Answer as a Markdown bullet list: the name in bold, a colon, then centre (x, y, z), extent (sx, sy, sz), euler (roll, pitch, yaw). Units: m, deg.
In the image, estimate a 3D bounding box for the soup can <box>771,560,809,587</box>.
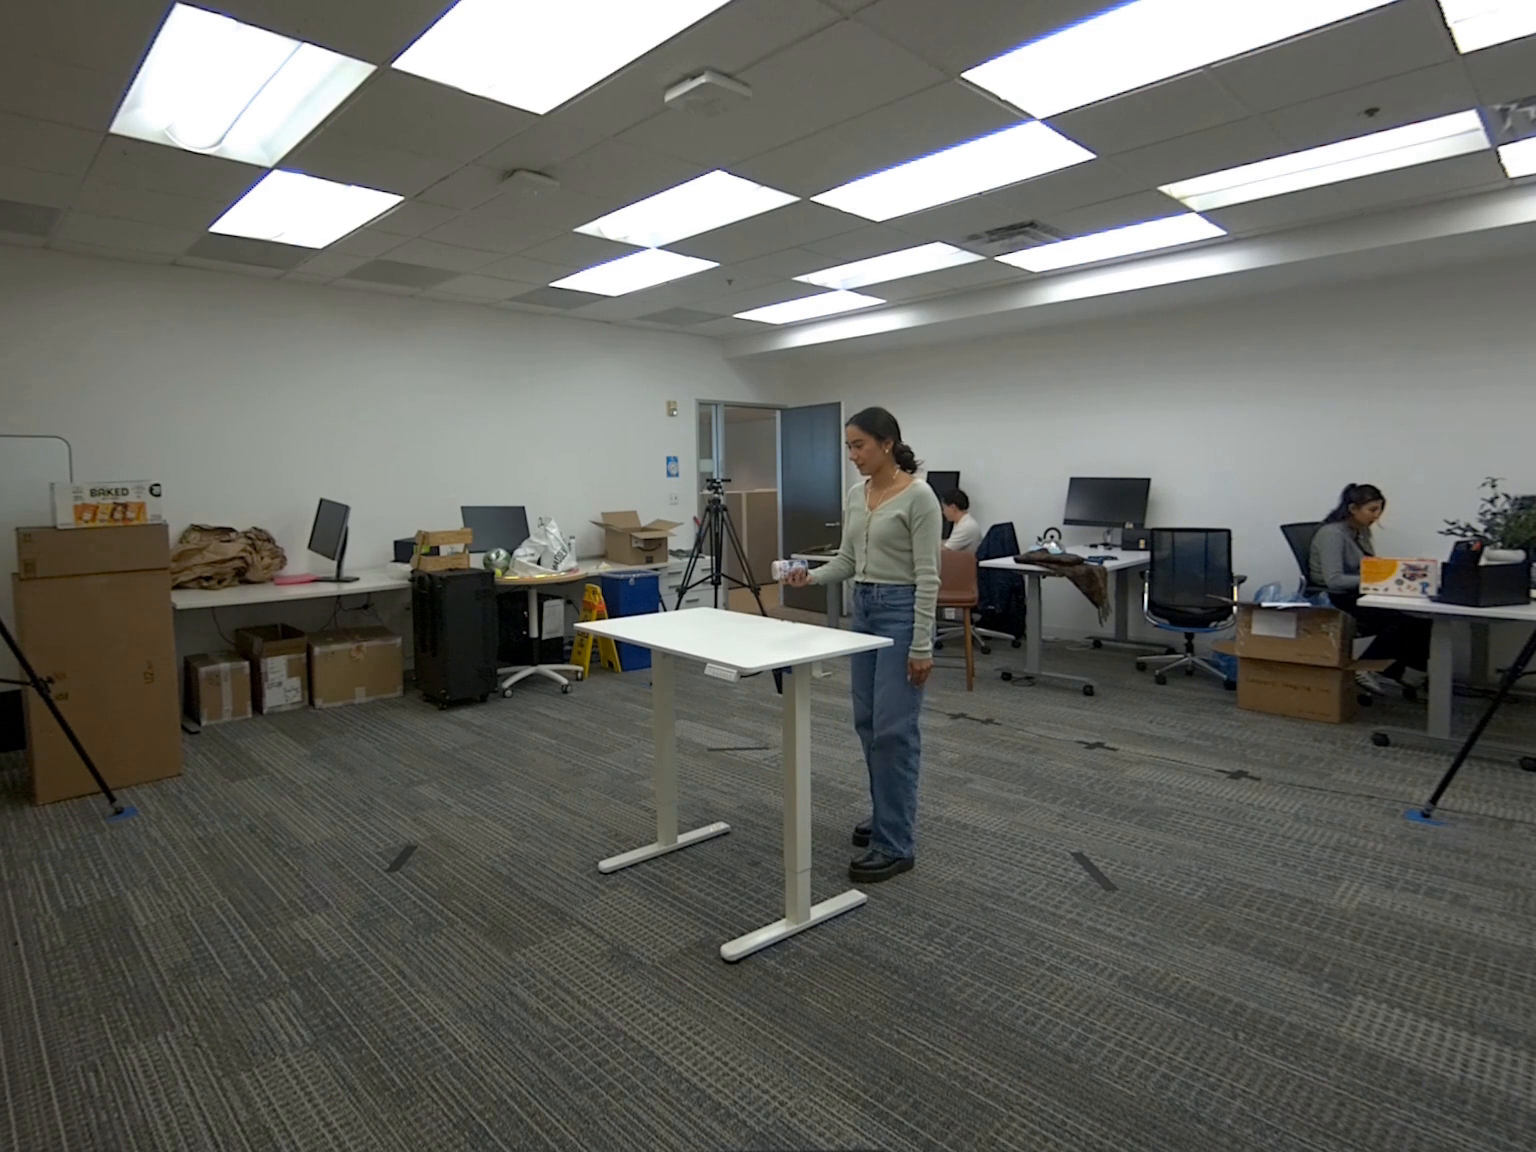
- **soup can**: centre (0.079, -0.024, 3.044), extent (0.121, 0.067, 0.067), euler (-5, 5, -4)
